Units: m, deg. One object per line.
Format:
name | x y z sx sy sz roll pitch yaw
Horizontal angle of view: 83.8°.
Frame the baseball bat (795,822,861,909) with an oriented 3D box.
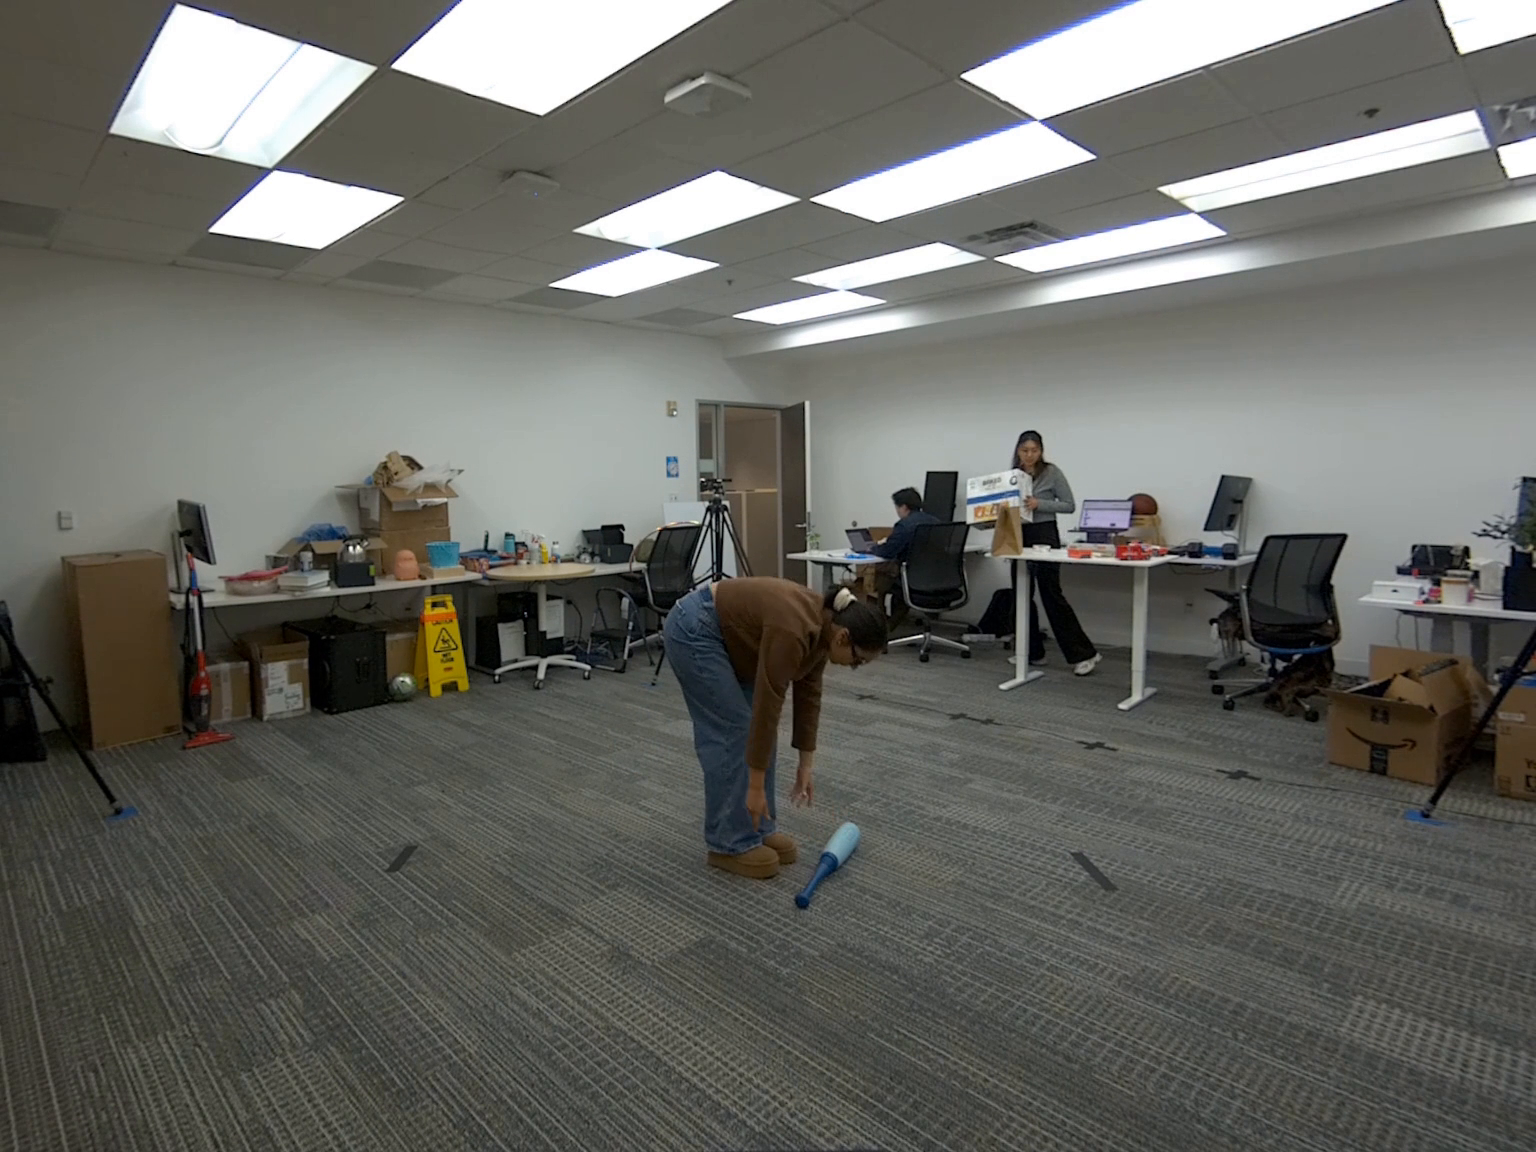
baseball bat | 0.207 1.011 3.004 0.091 0.088 0.534 1 9 23
